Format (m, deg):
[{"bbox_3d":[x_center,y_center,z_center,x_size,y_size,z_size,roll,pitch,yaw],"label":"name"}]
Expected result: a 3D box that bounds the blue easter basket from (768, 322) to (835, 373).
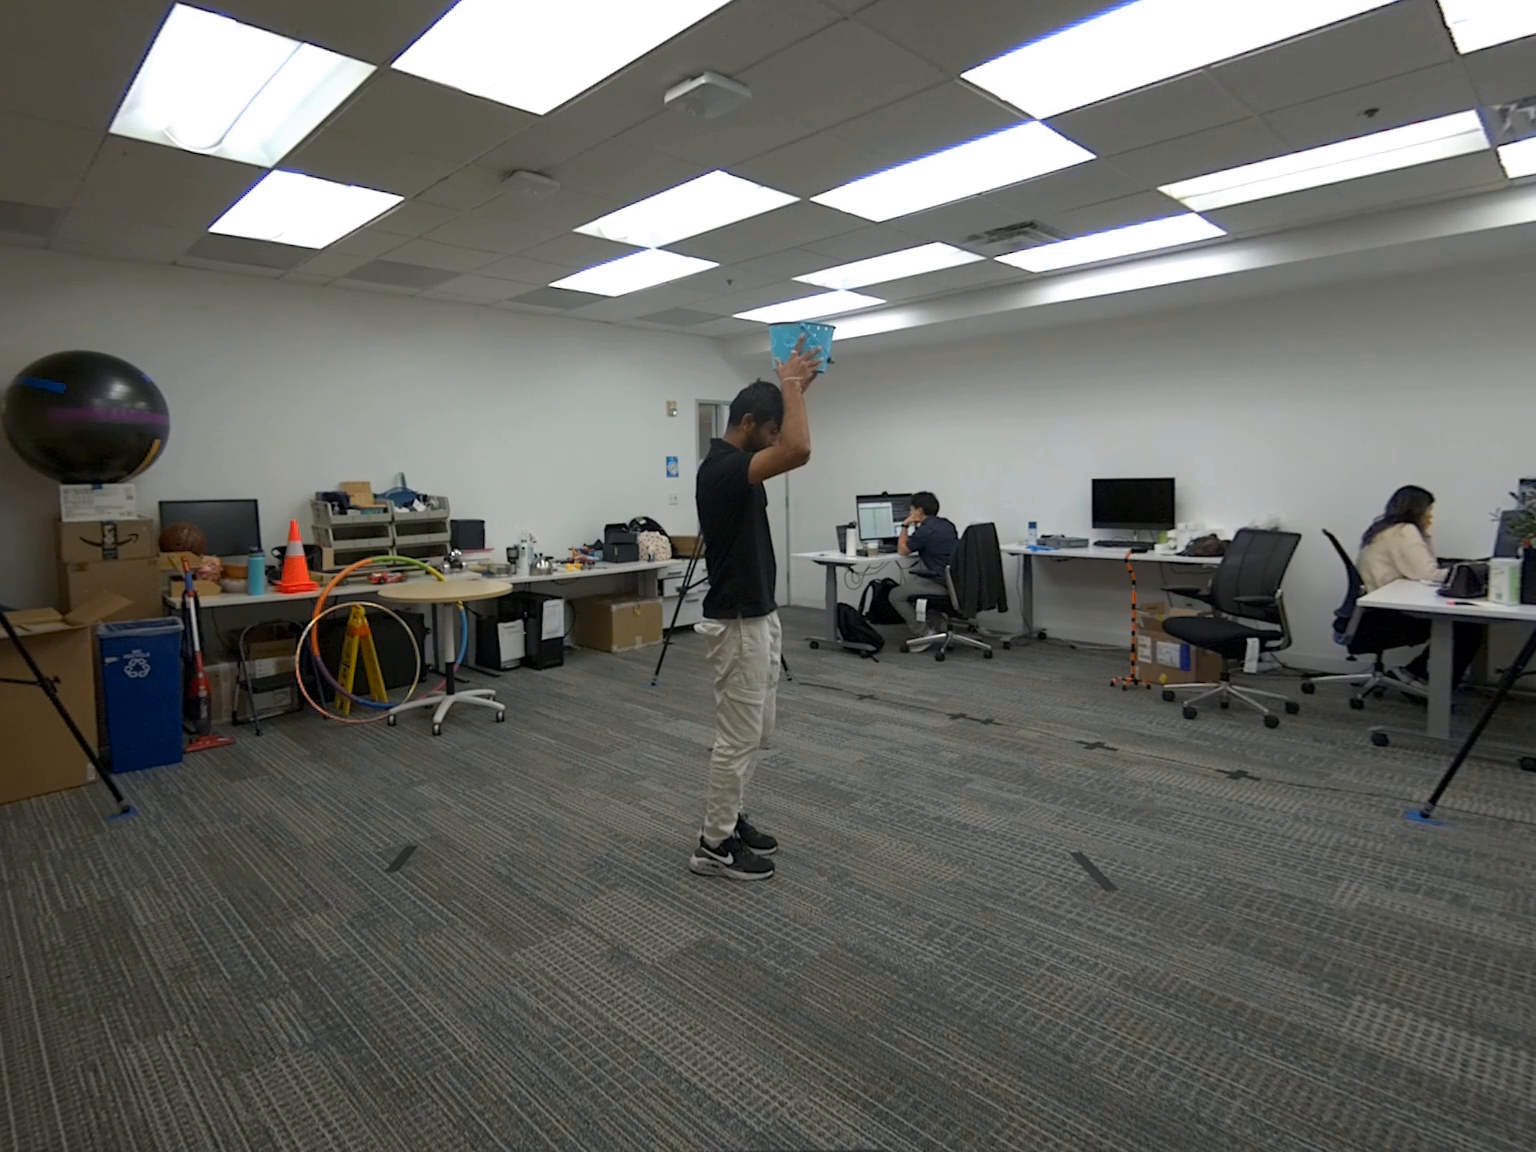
[{"bbox_3d":[0.122,-0.784,2.925,0.243,0.155,0.246,3,9,-2],"label":"blue easter basket"}]
